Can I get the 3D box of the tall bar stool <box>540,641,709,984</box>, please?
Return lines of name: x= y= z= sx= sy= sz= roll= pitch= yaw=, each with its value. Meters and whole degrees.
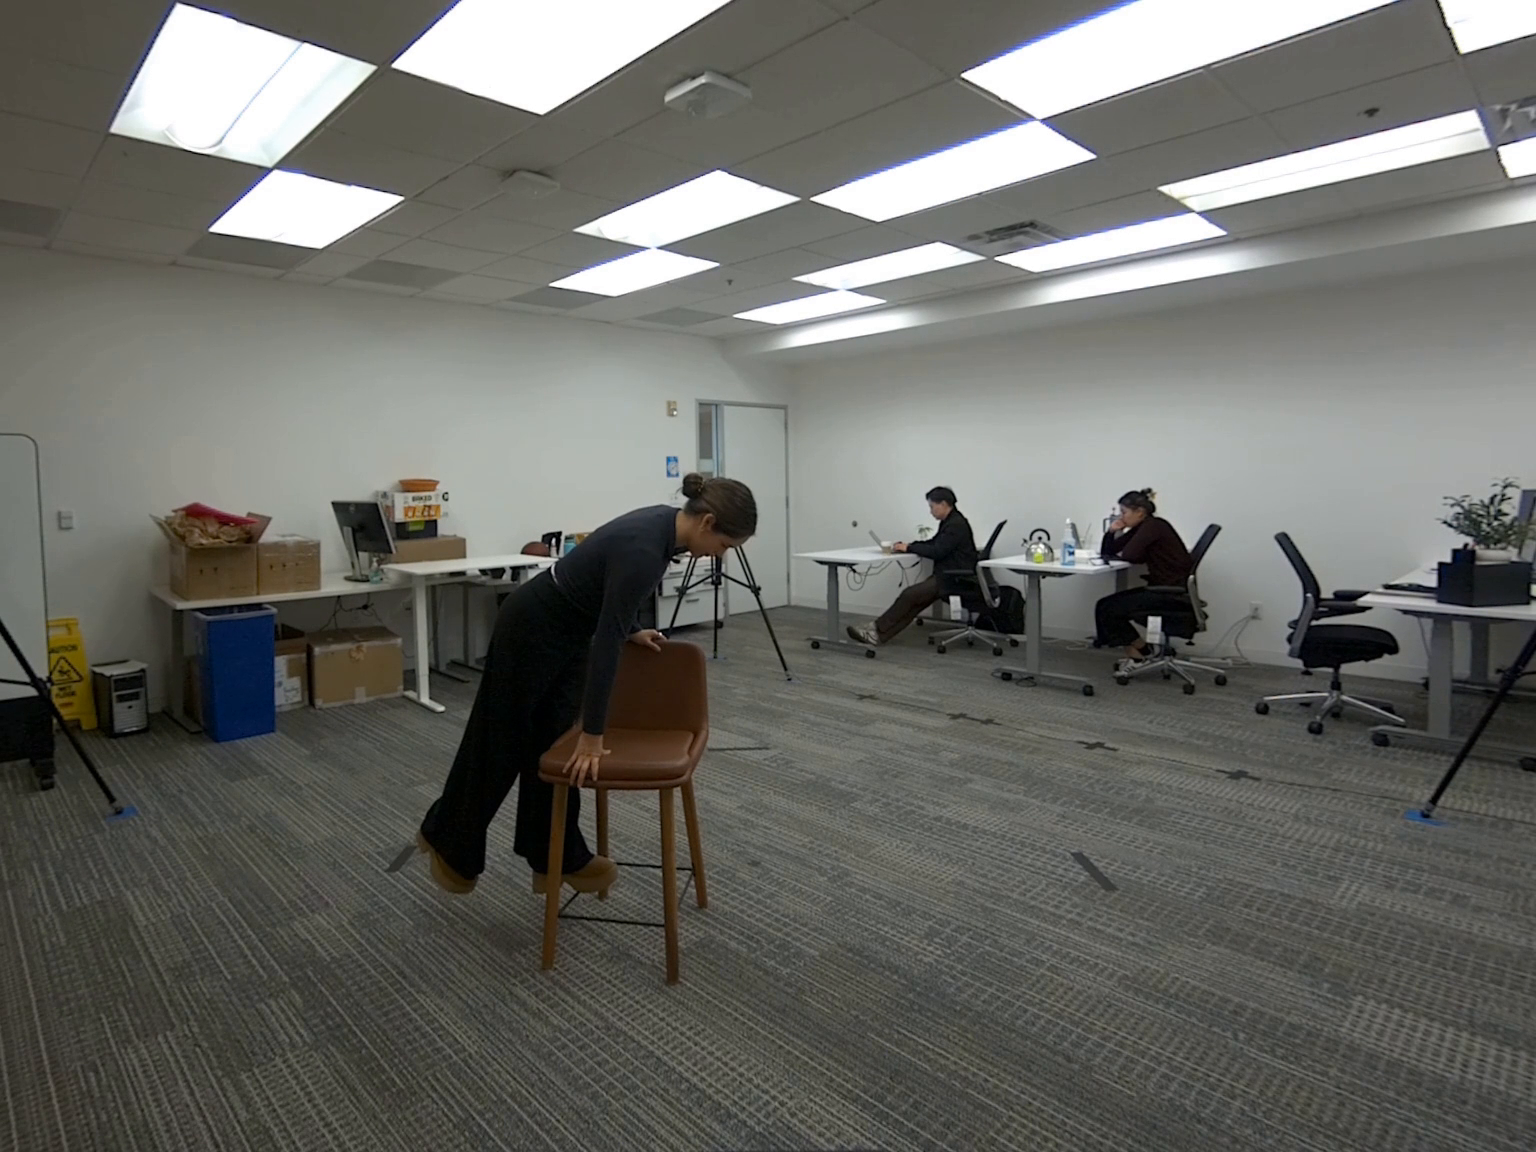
tall bar stool: x=-0.419 y=0.676 z=2.606 sx=0.462 sy=0.887 sz=0.464 roll=0 pitch=4 yaw=11
